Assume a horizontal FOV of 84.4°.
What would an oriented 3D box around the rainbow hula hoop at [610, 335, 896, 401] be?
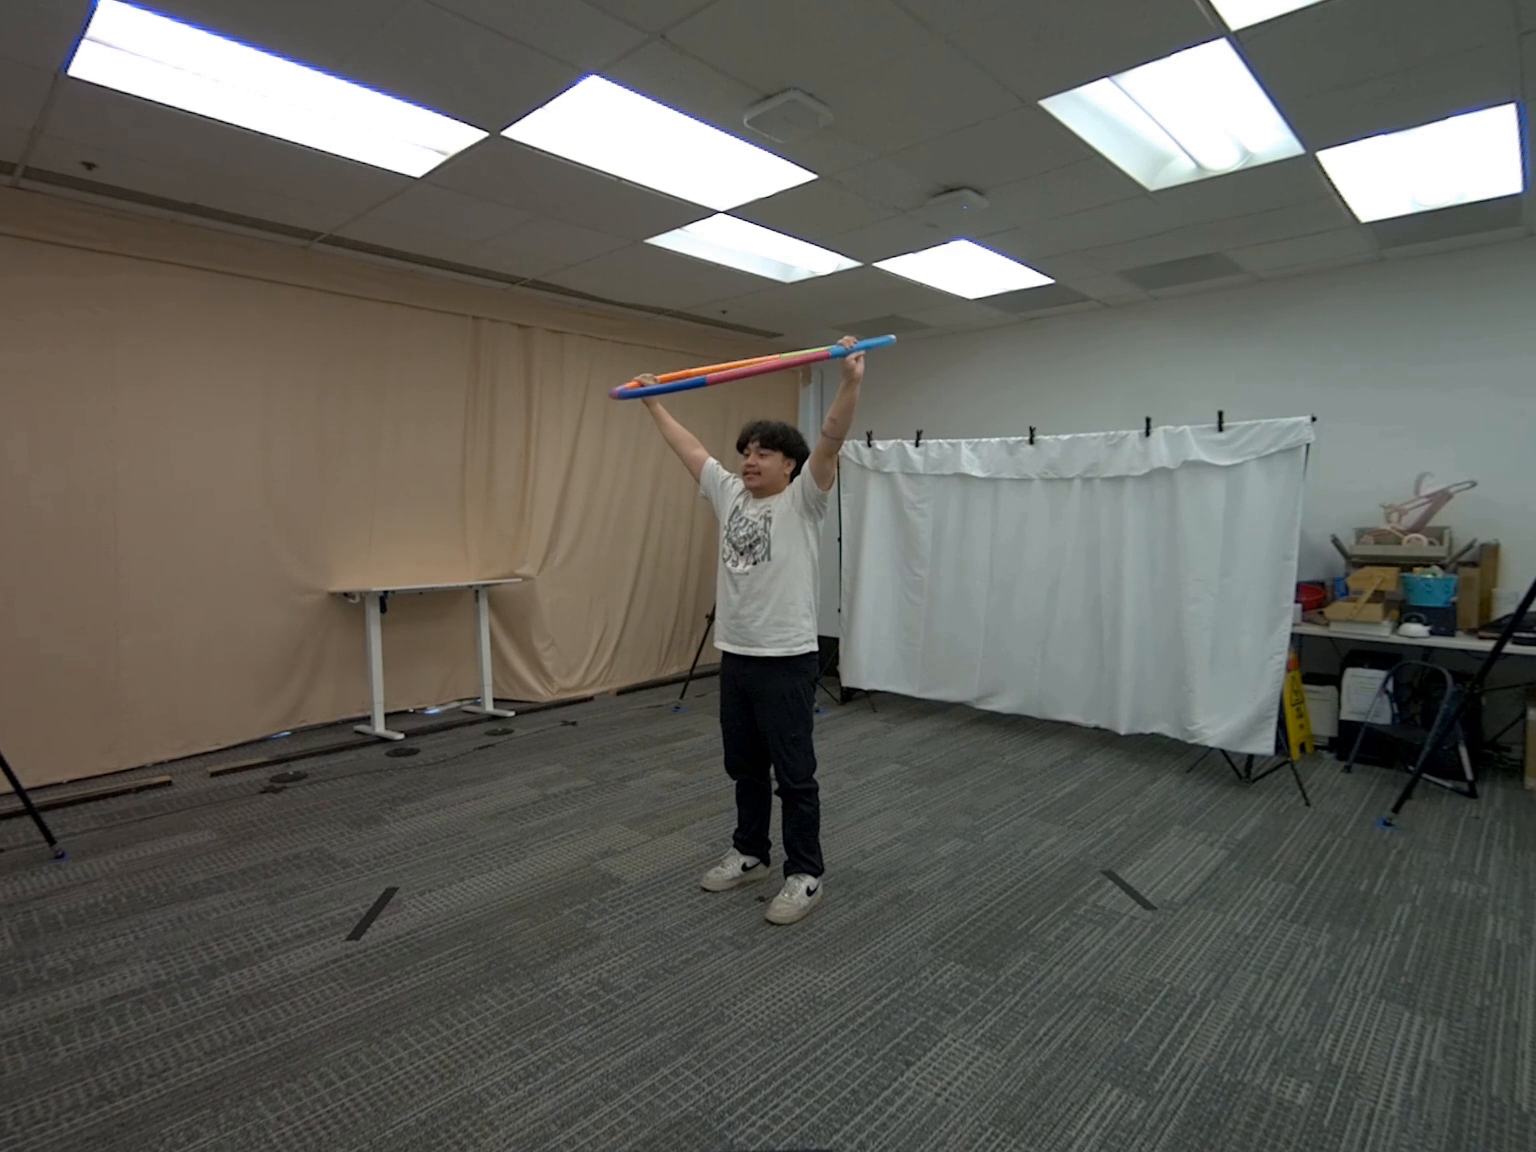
[{"bbox_3d":[-0.051,-0.720,2.892,0.987,0.051,0.995,-10,15,1],"label":"rainbow hula hoop"}]
